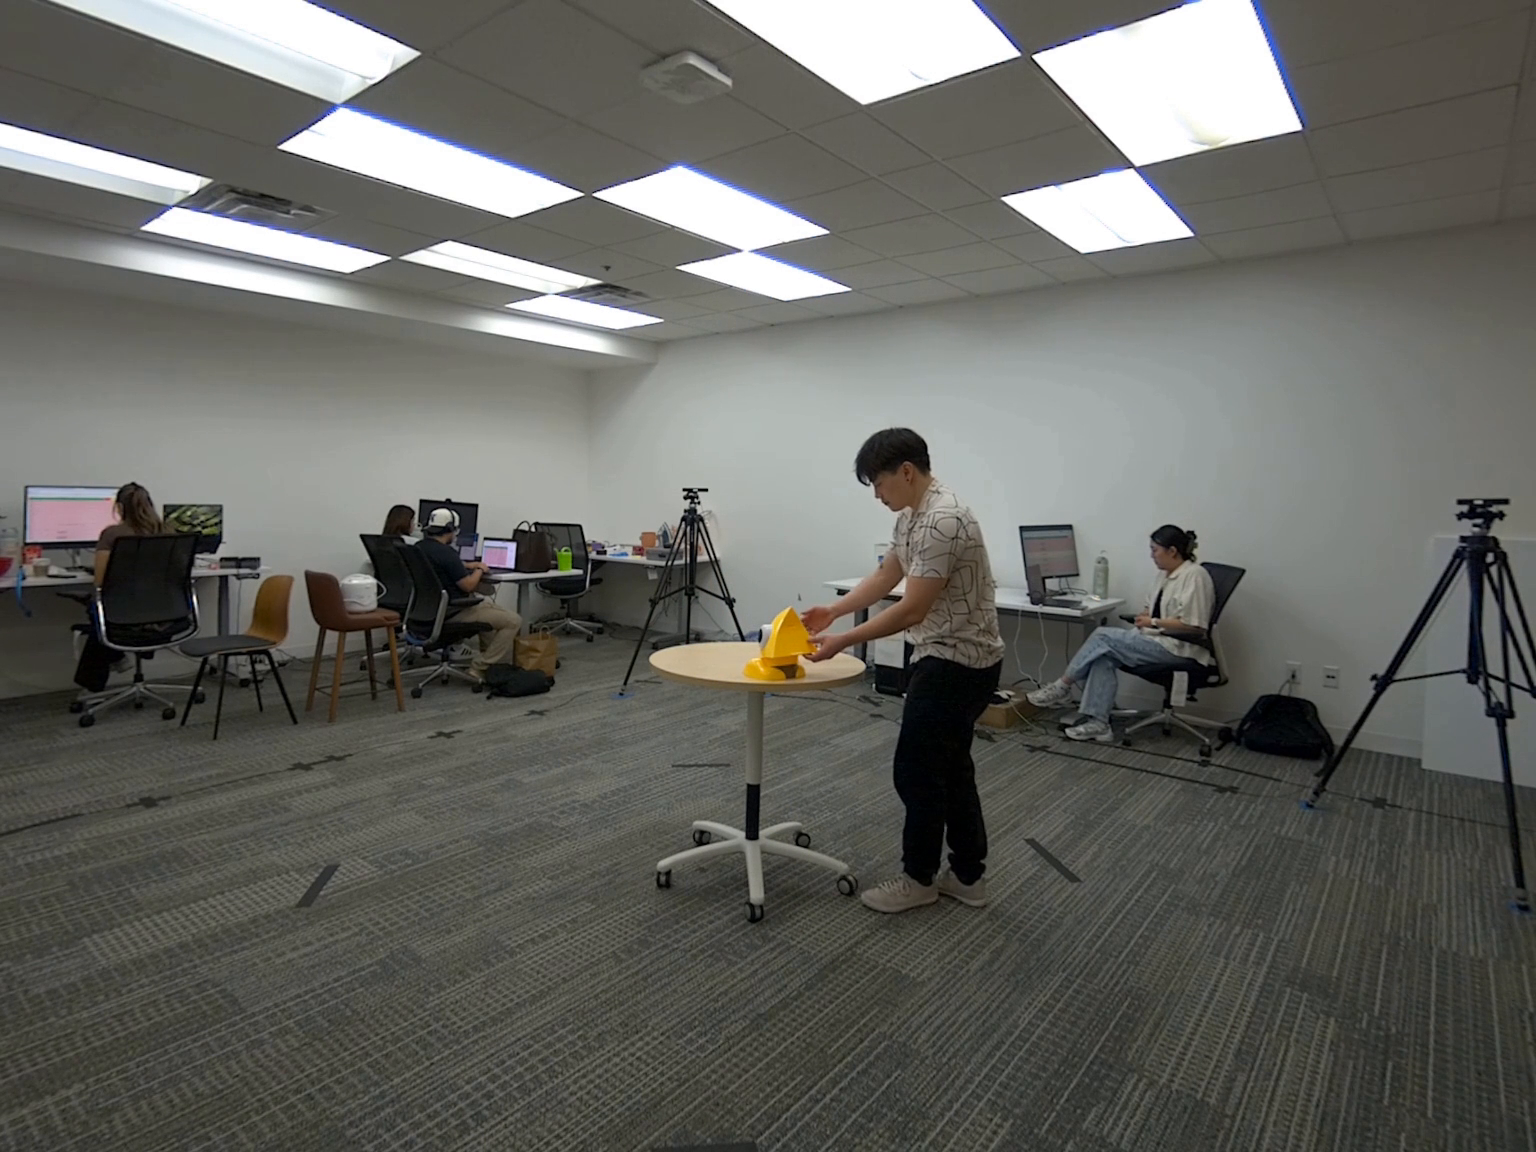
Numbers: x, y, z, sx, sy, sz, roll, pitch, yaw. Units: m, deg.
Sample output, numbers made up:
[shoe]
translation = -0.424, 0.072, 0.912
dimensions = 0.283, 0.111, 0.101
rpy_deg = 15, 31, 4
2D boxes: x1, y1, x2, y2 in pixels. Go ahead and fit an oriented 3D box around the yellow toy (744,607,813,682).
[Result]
[yellow toy]
translation = 0.023, 0.207, 2.781
dimensions = 0.198, 0.230, 0.199
rpy_deg = -2, 4, -41
